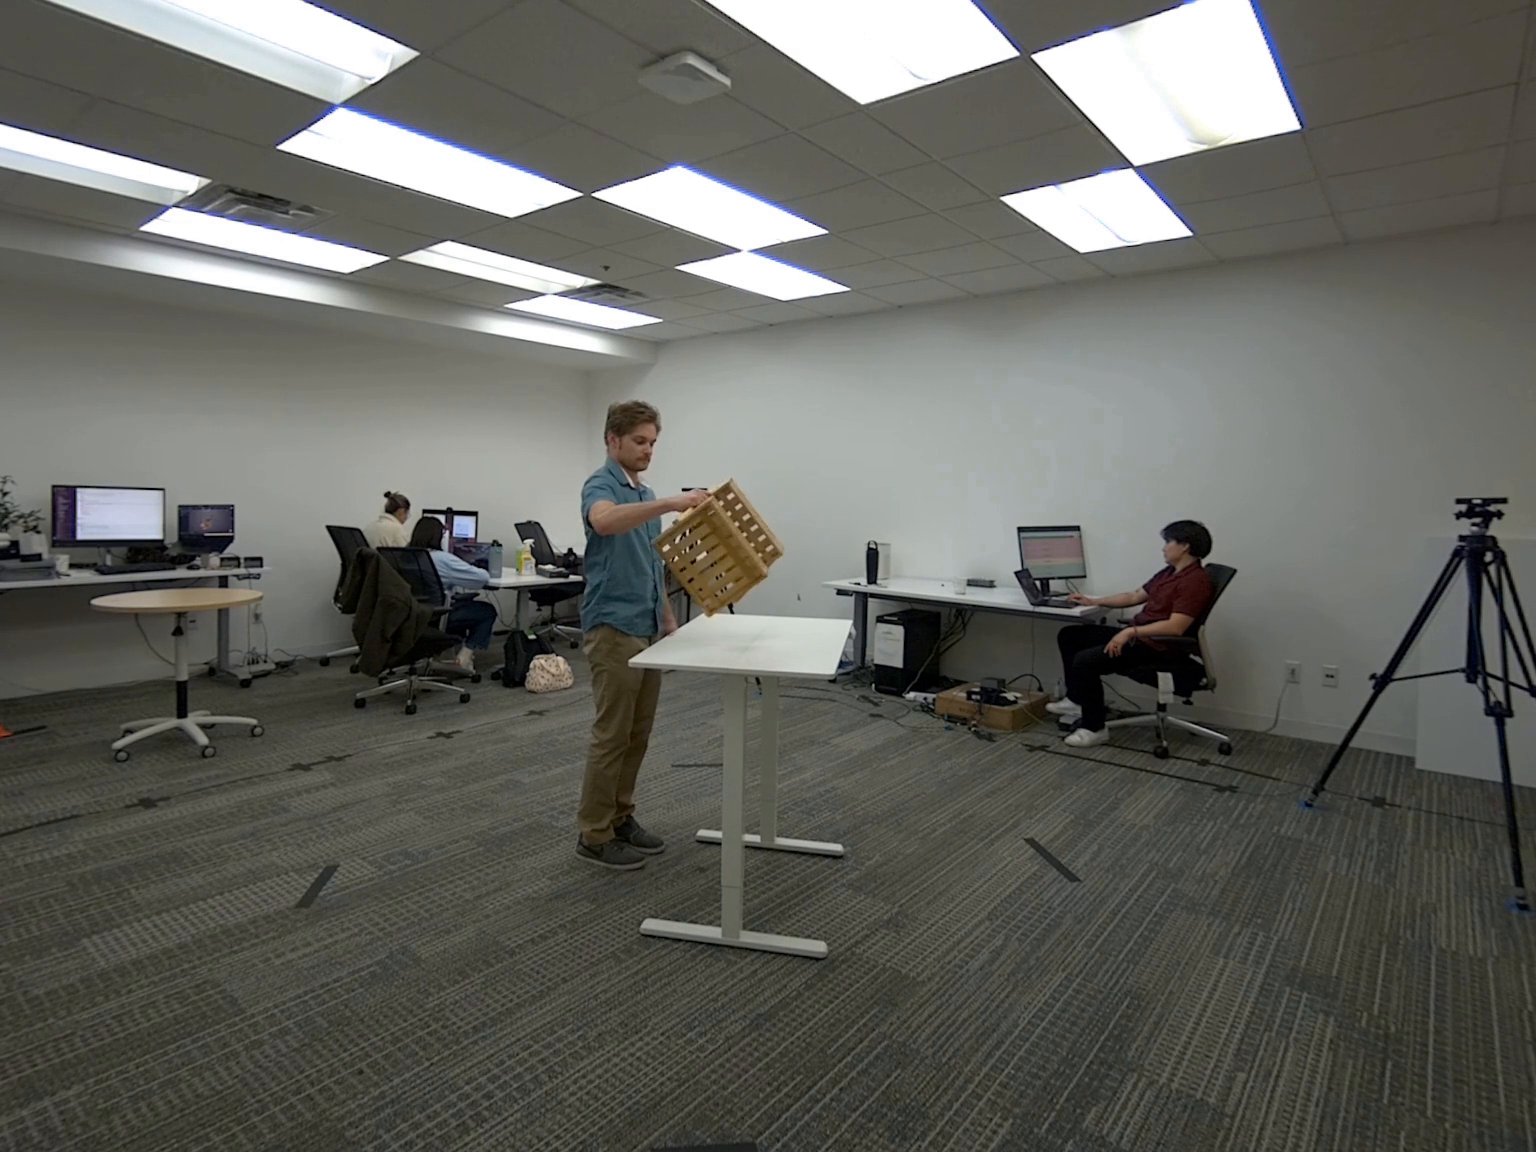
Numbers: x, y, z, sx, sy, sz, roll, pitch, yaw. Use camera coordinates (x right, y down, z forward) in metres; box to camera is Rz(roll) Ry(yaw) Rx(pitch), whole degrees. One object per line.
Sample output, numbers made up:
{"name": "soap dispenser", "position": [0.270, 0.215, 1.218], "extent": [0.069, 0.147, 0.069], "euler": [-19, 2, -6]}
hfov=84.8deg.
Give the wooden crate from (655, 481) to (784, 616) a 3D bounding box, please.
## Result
{"name": "wooden crate", "position": [-0.167, -0.097, 2.787], "extent": [0.303, 0.321, 0.275], "euler": [-36, 8, 13]}
